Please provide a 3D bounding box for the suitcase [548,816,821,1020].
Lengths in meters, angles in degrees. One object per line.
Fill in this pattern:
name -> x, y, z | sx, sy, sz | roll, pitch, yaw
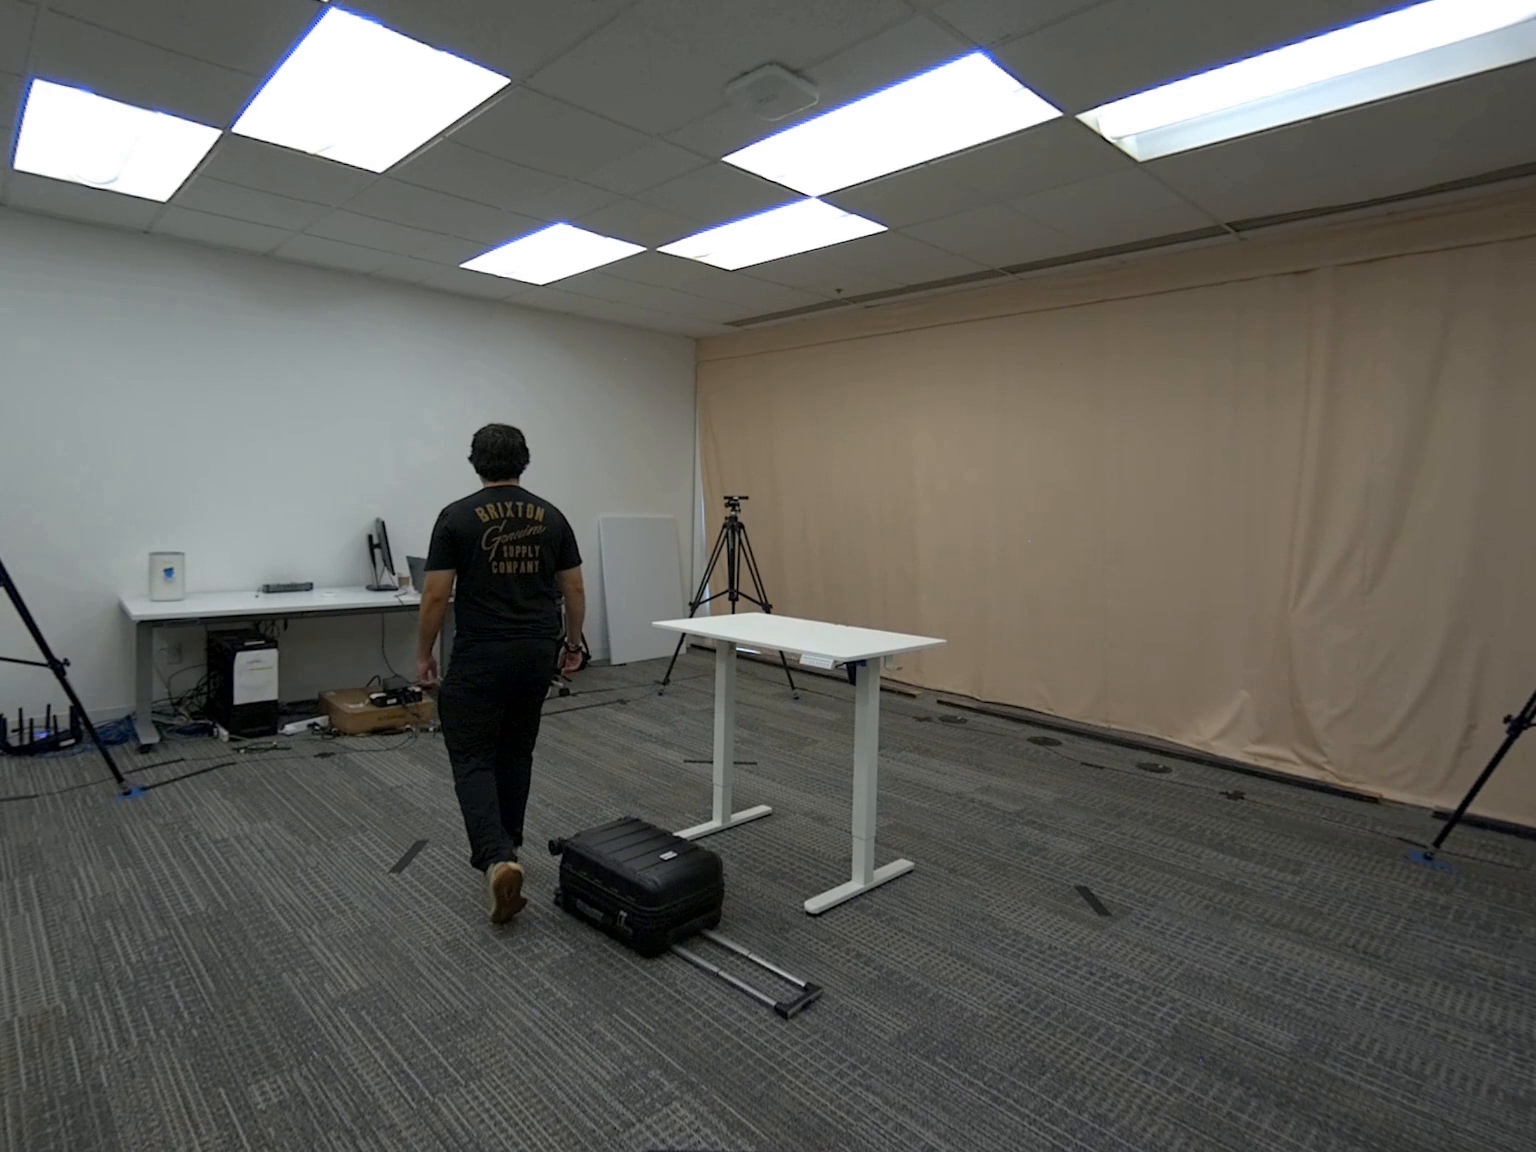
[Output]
suitcase -> -0.275, 1.022, 2.629 | 1.003, 0.256, 0.375 | 4, 4, 41
